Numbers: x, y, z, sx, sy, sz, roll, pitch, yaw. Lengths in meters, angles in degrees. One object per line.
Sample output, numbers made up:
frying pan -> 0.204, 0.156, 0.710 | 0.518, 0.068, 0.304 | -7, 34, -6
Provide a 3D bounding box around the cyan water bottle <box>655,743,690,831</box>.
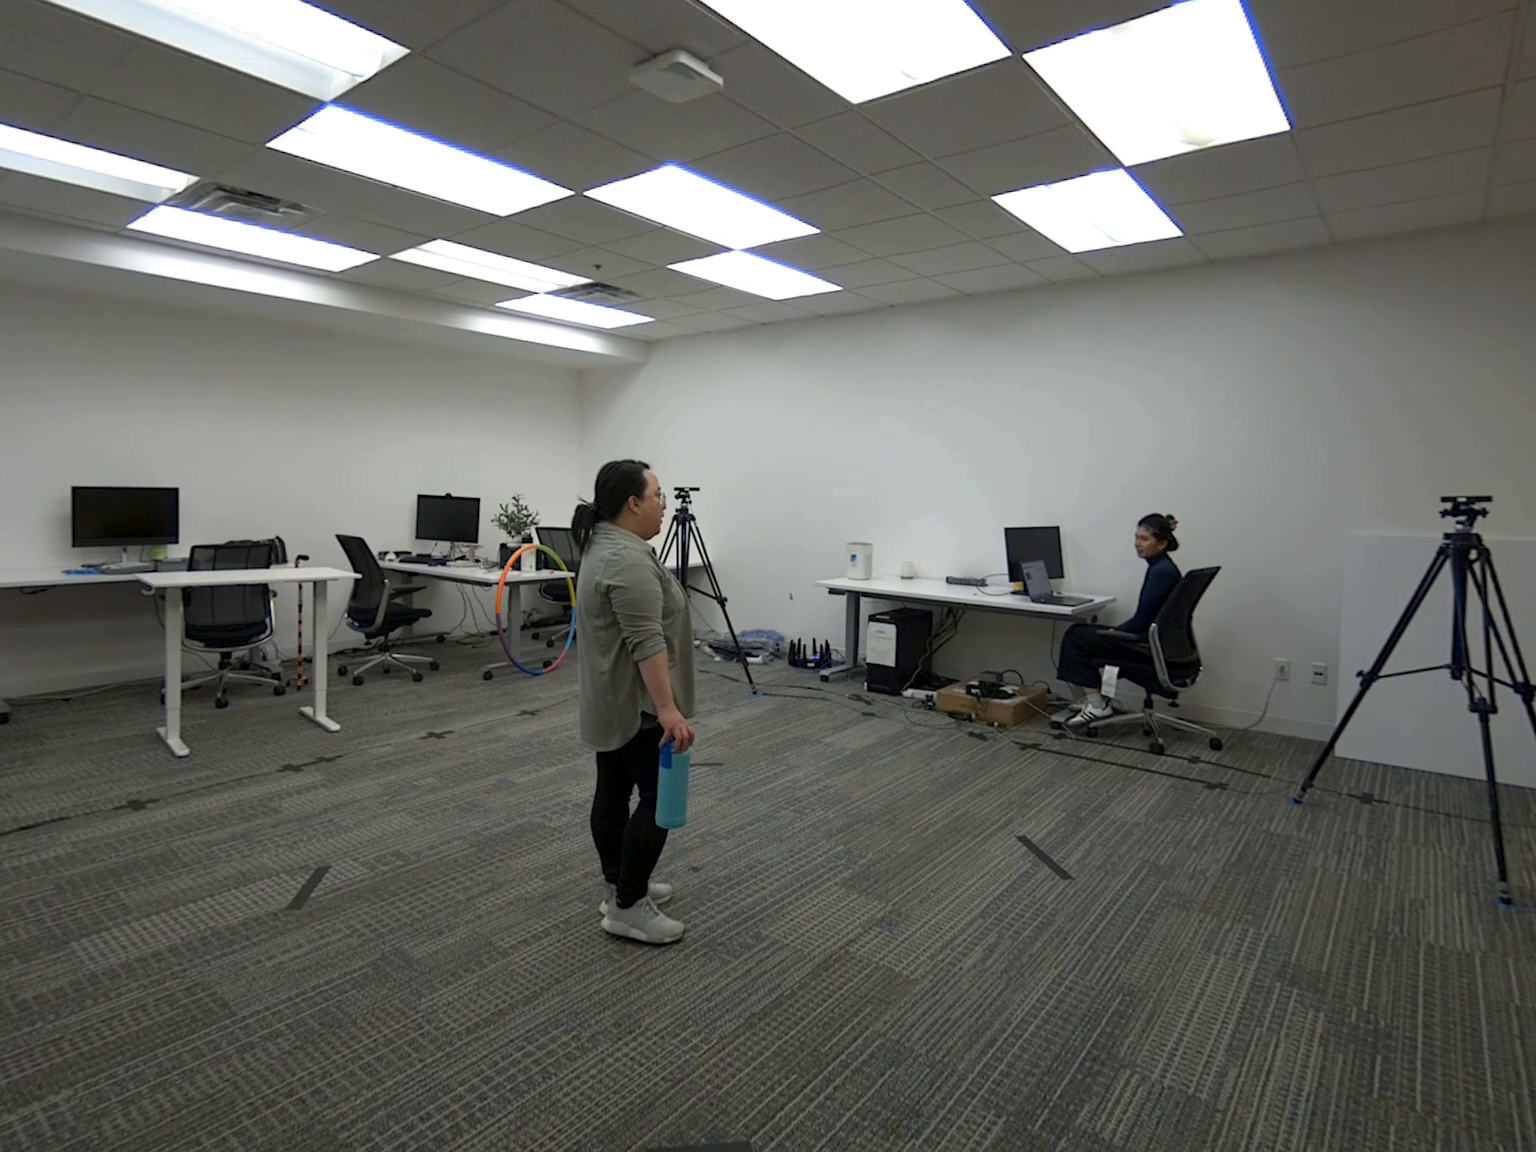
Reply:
cyan water bottle -> -0.285, 0.587, 2.496 | 0.092, 0.283, 0.092 | 5, 2, -2
